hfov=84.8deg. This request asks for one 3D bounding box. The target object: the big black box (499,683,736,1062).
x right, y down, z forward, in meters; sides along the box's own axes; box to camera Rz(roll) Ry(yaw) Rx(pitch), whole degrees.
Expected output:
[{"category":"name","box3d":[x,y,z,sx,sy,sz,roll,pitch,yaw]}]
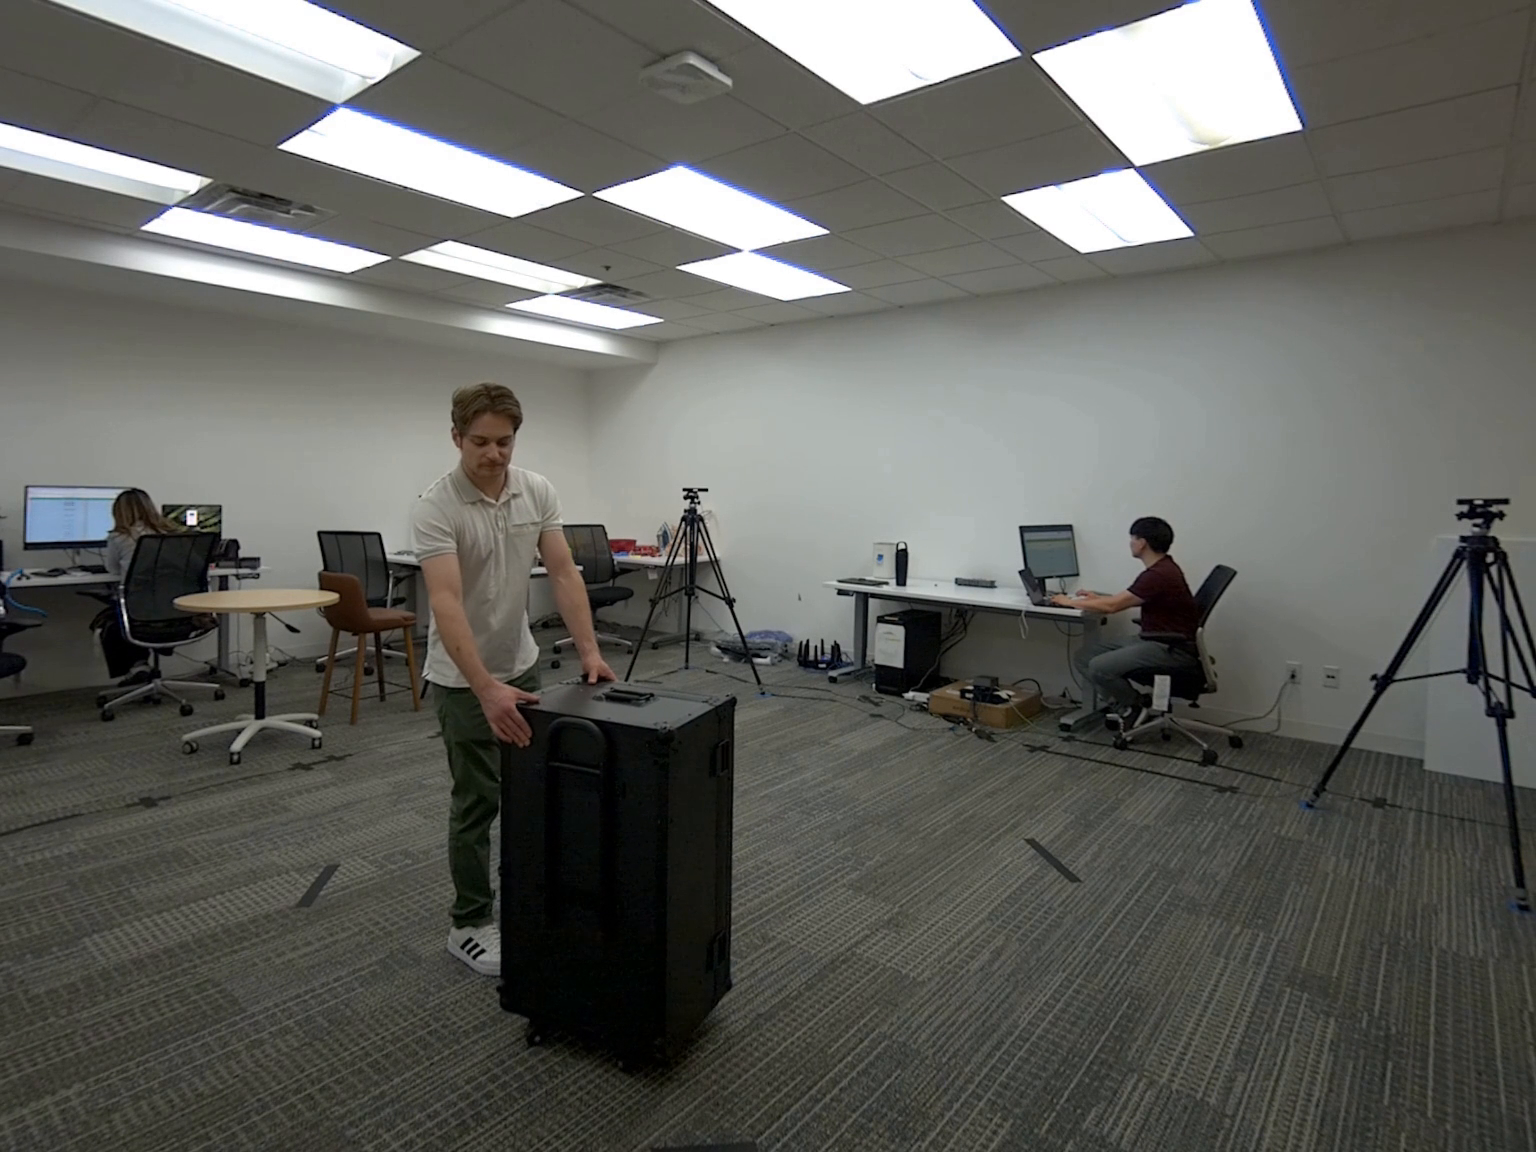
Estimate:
[{"category":"big black box","box3d":[-0.383,0.738,2.162,0.536,0.866,0.377,2,4,24]}]
